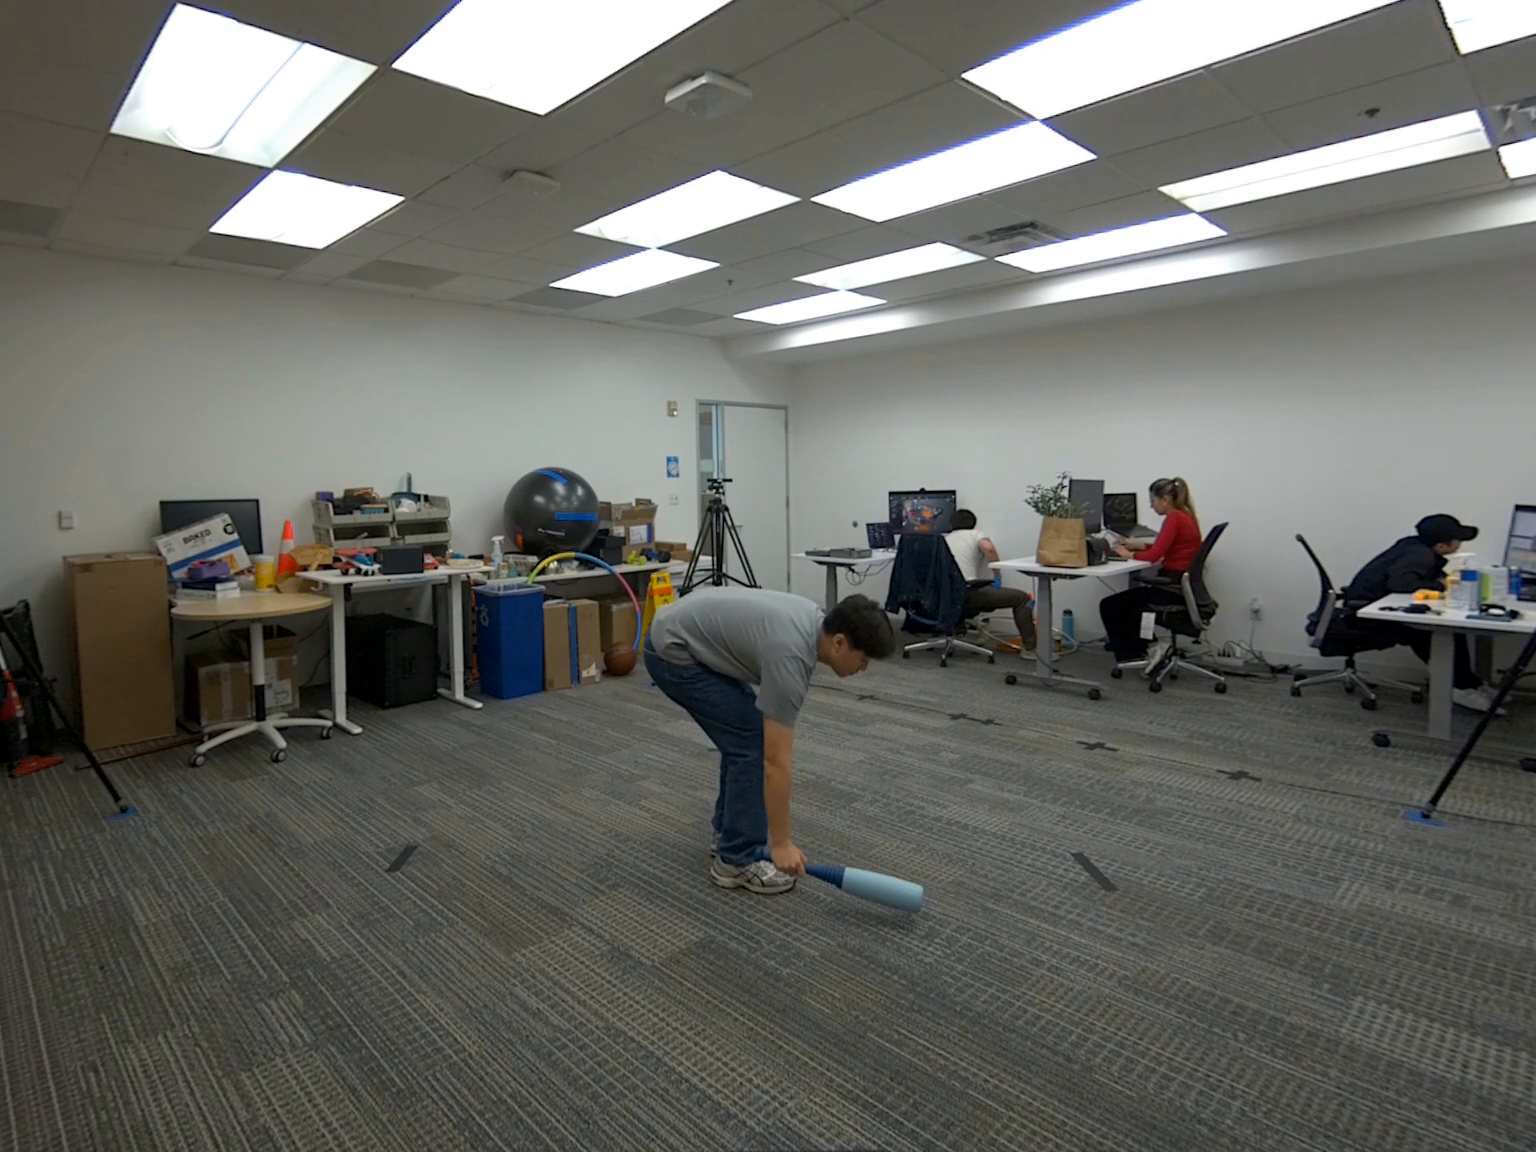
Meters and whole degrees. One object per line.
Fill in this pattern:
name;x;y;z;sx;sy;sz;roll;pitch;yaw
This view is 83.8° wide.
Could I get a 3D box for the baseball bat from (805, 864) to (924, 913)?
baseball bat;0.235;0.954;2.733;0.551;0.088;0.088;10;7;14
